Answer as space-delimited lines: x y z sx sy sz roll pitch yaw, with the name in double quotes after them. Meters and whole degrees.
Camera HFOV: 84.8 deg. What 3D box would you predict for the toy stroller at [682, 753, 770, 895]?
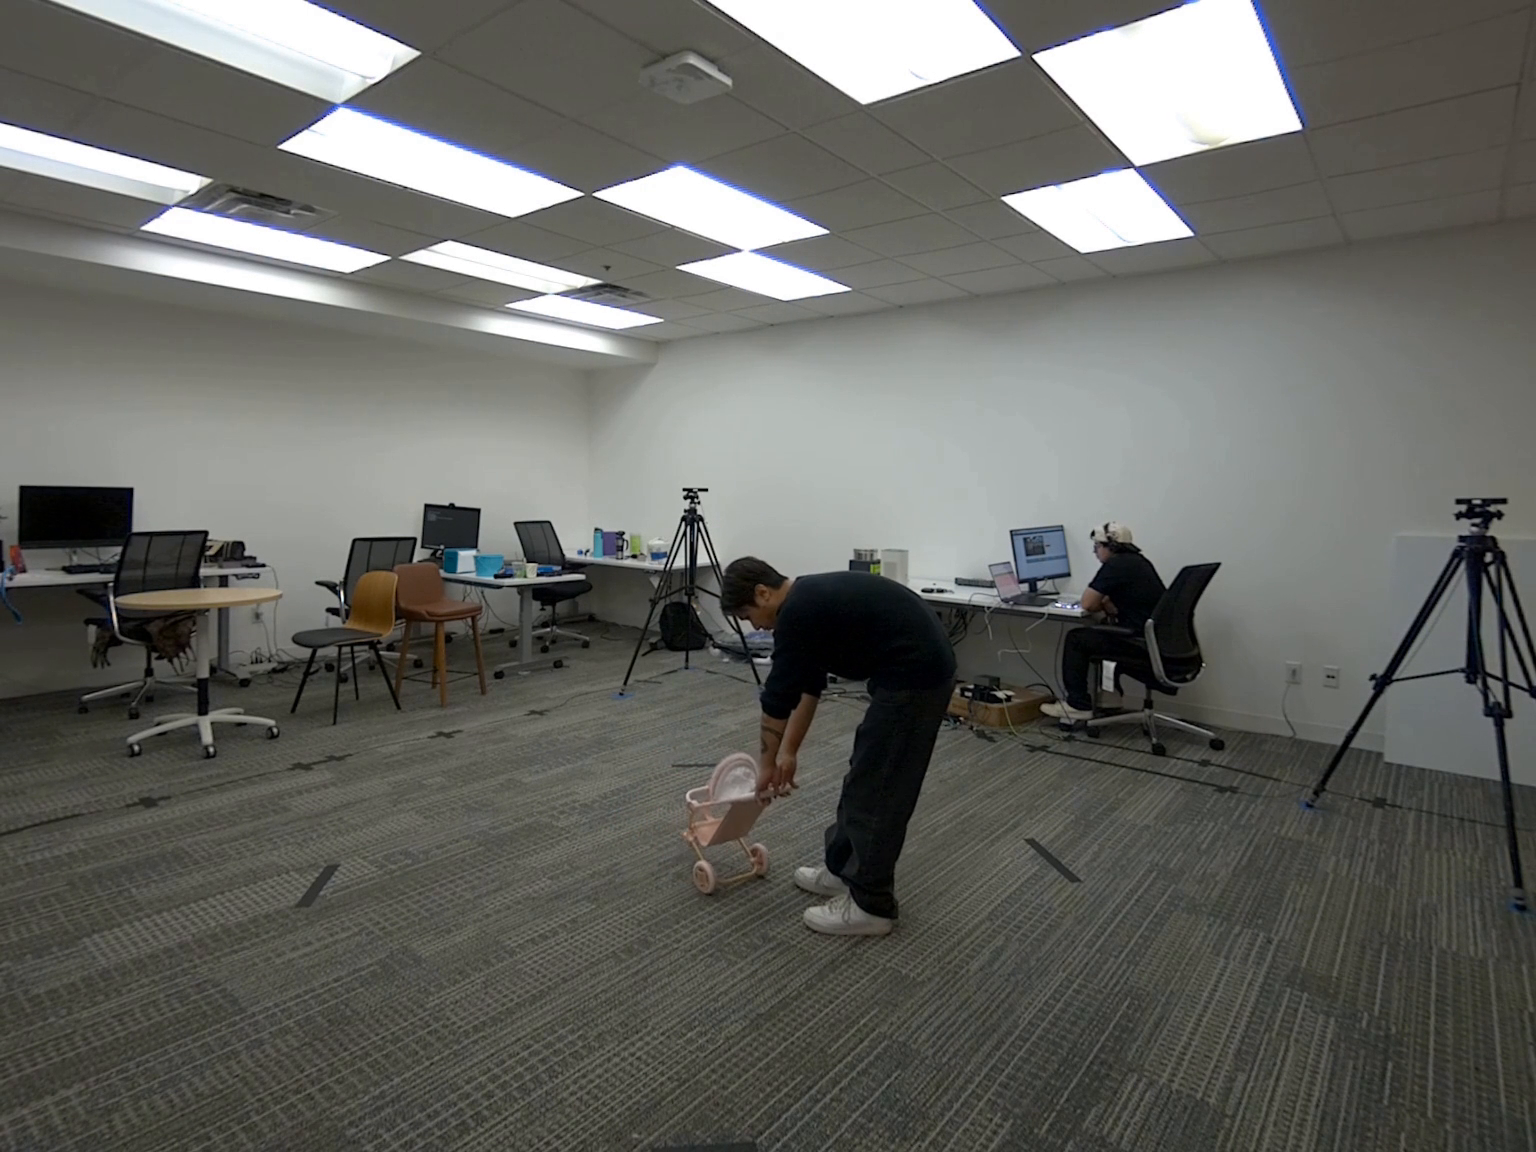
-0.156 0.850 3.025 0.273 0.528 0.356 0 28 -35 "toy stroller"
